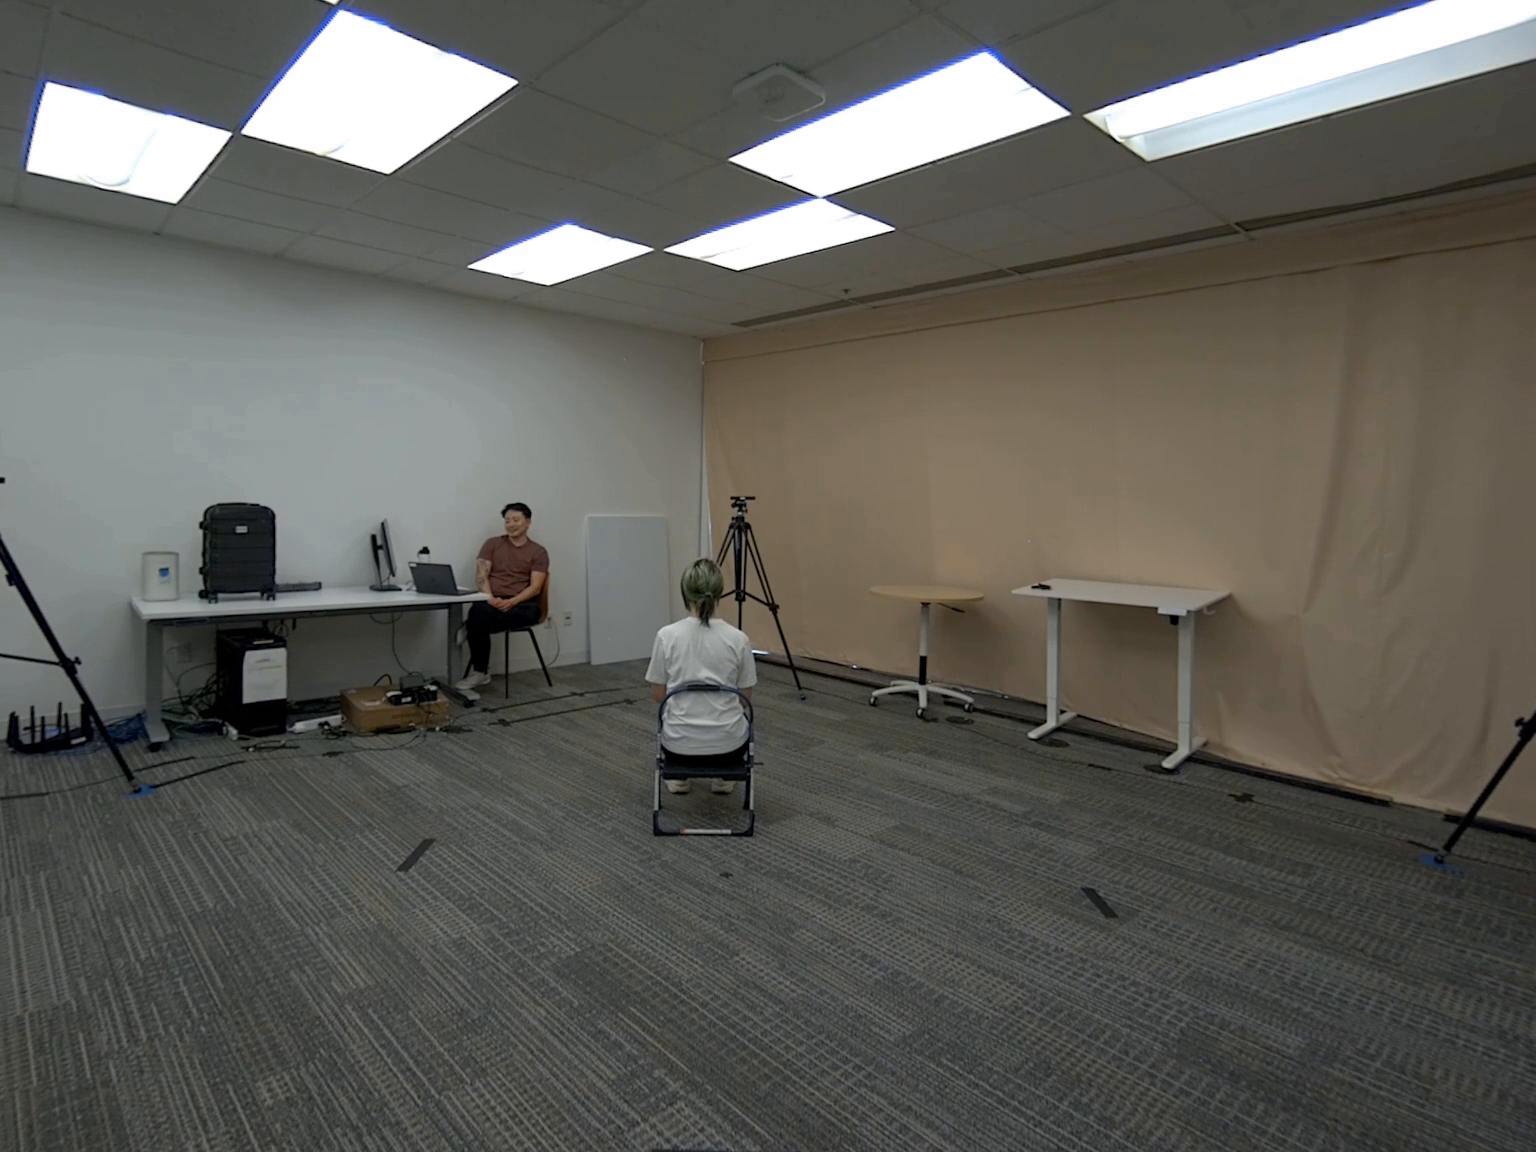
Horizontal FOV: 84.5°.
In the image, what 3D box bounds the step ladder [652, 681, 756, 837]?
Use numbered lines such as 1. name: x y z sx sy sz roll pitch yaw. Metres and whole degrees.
1. step ladder: -0.285 0.761 3.612 0.429 0.605 0.351 1 2 -5
